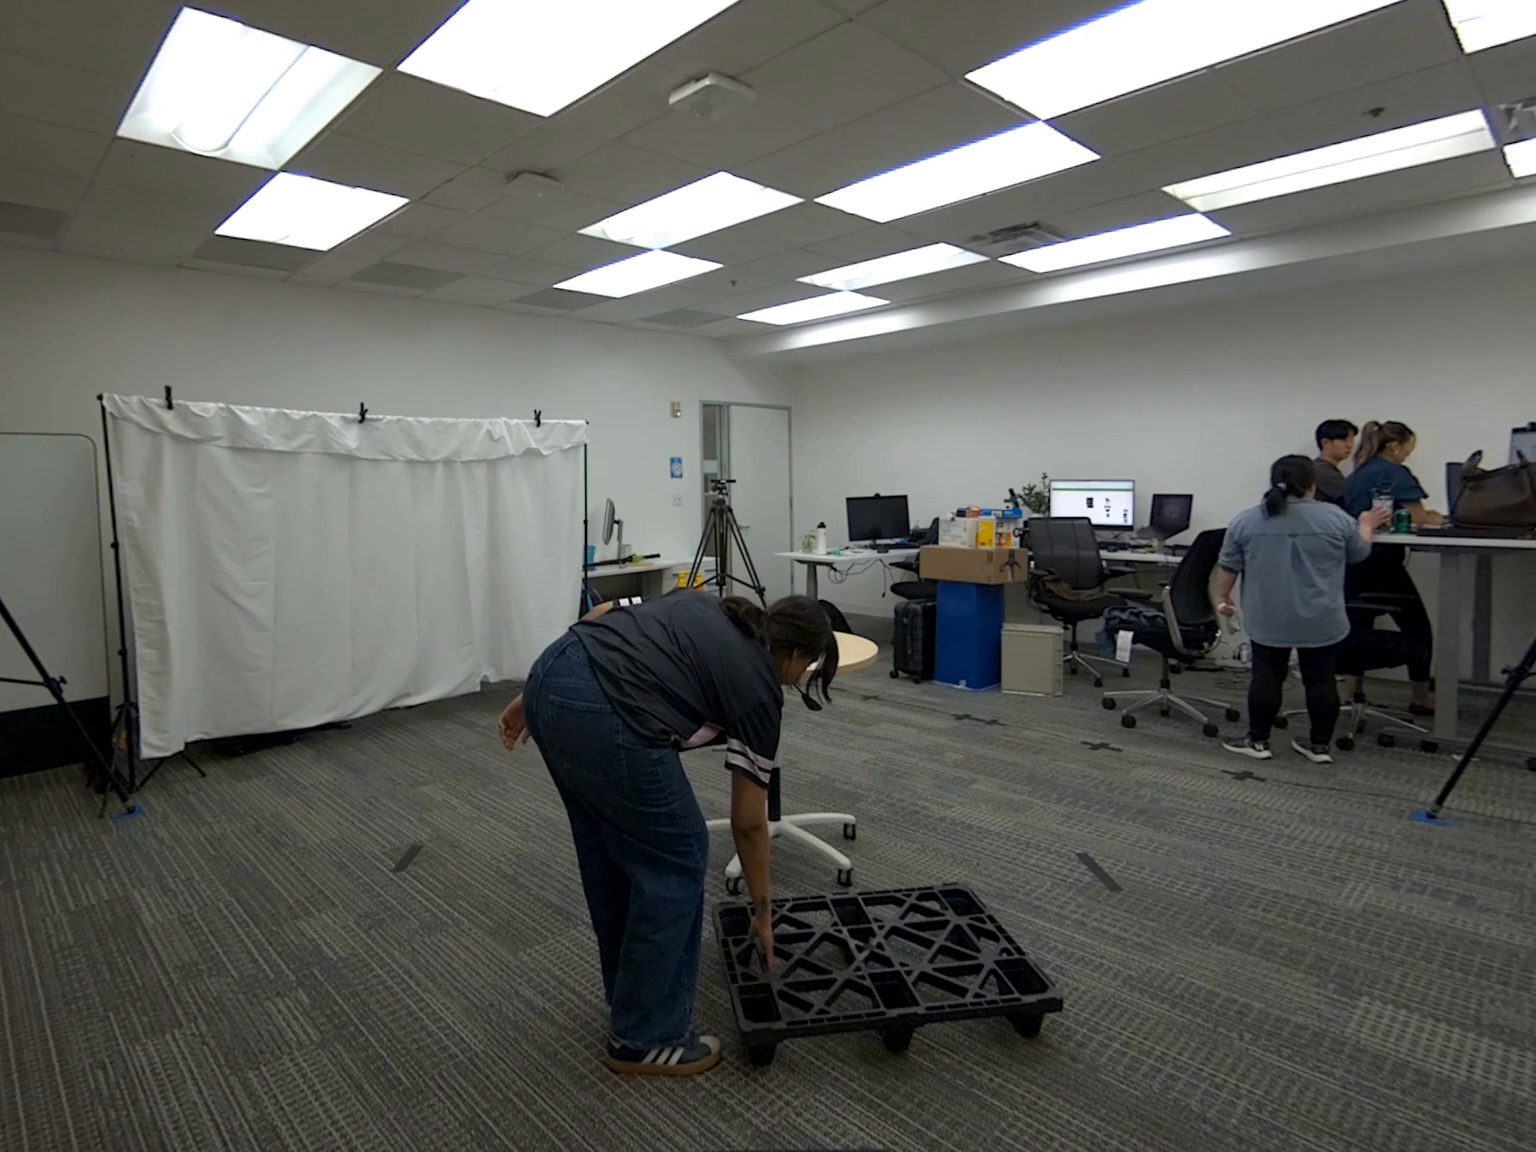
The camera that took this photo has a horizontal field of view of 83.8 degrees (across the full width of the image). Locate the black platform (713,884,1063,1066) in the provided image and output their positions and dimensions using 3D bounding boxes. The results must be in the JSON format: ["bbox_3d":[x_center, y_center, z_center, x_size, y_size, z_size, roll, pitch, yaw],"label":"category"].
[{"bbox_3d":[0.280,1.066,2.316,0.799,0.143,0.612,-2,6,-9],"label":"black platform"}]
